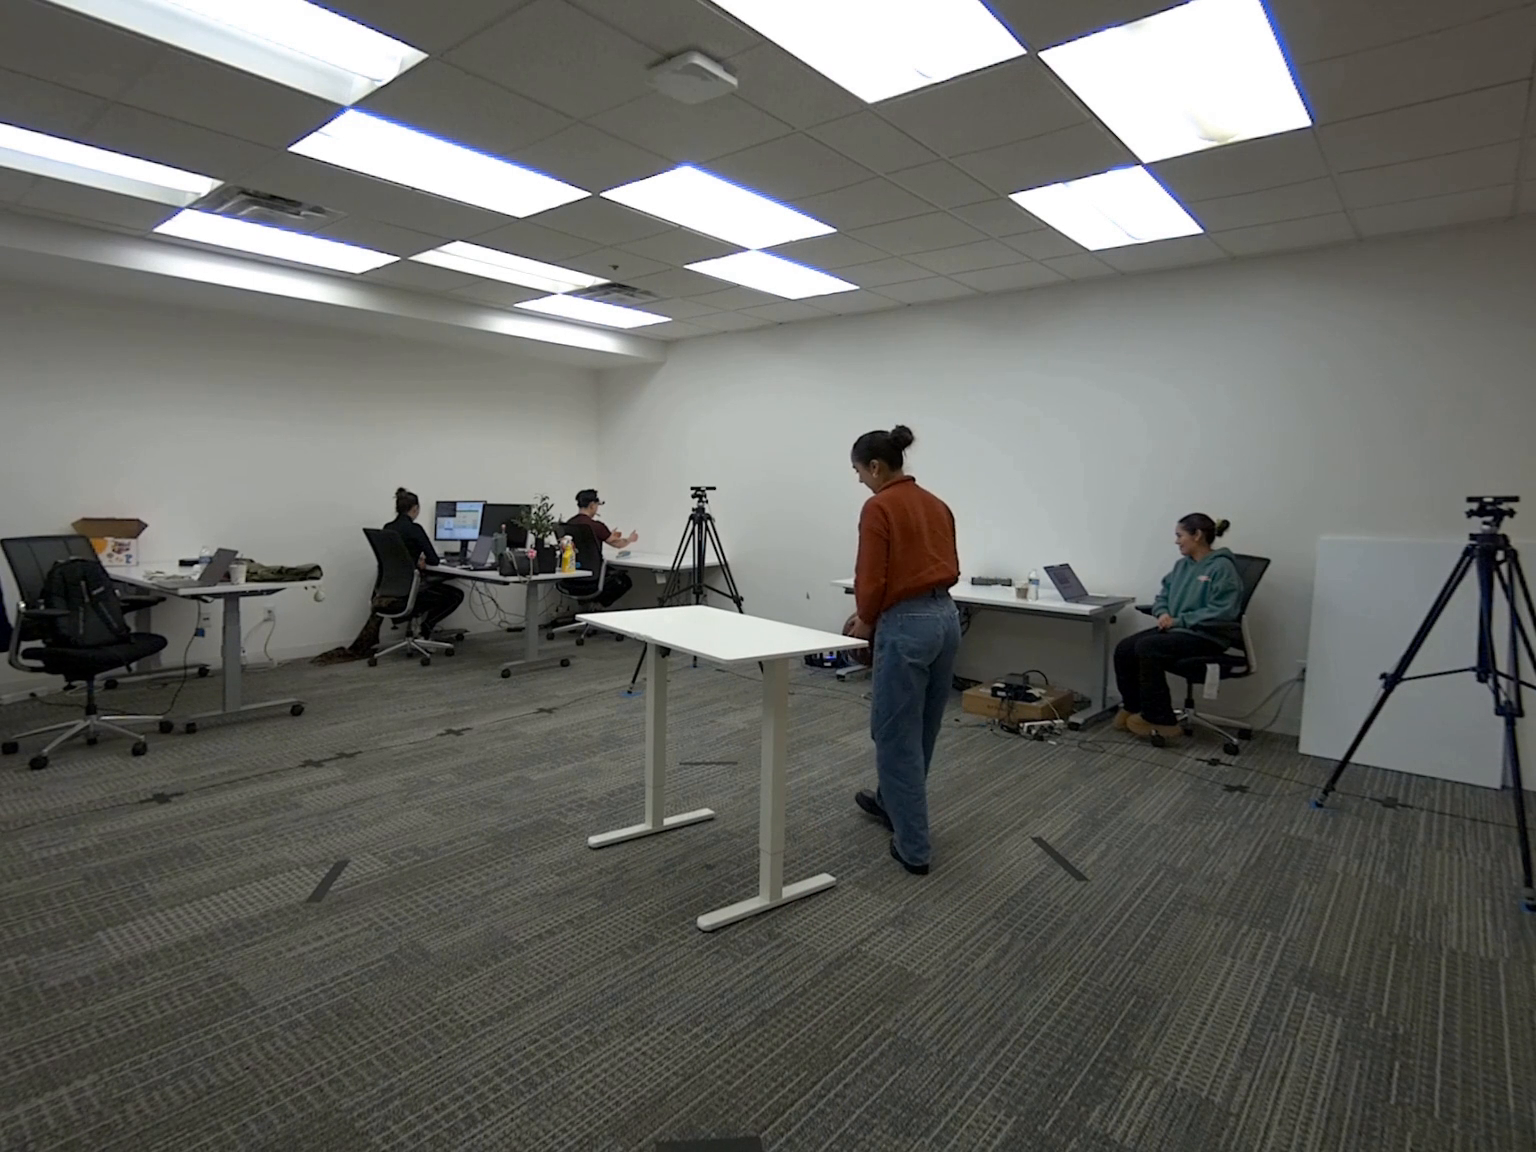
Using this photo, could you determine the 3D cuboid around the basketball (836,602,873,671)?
[{"bbox_3d":[0.412,0.241,3.402,0.235,0.235,0.237,1,4,-2],"label":"basketball"}]
